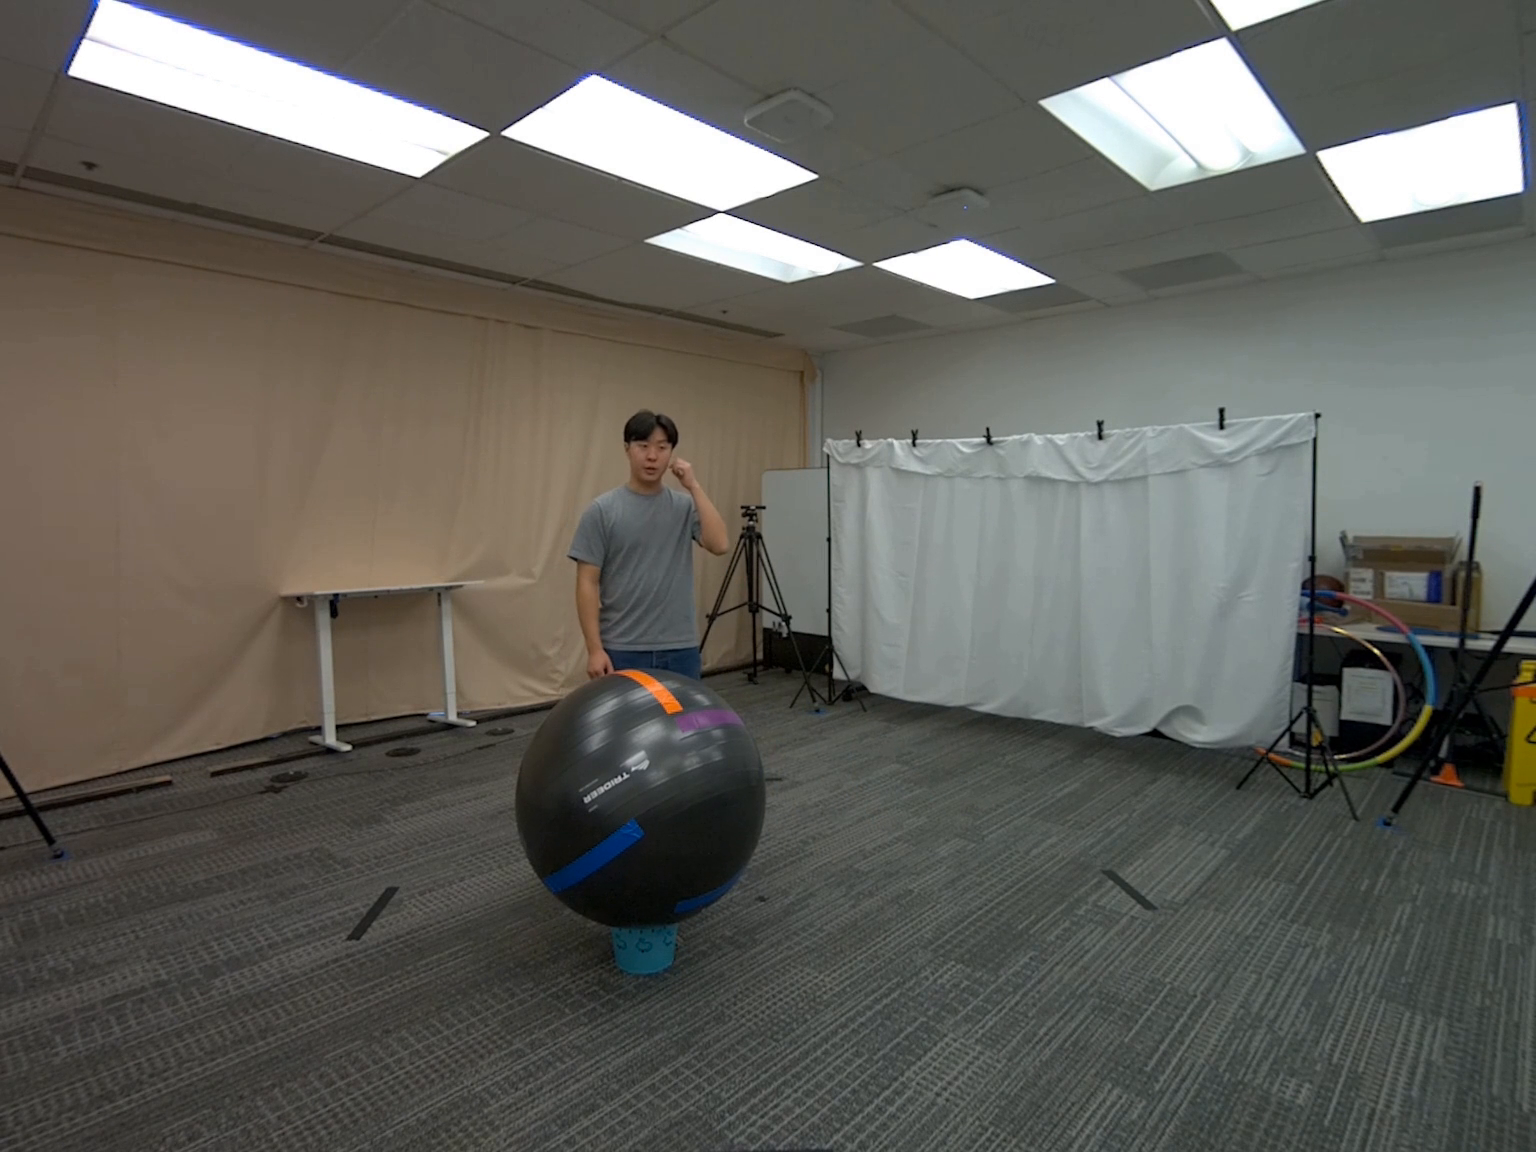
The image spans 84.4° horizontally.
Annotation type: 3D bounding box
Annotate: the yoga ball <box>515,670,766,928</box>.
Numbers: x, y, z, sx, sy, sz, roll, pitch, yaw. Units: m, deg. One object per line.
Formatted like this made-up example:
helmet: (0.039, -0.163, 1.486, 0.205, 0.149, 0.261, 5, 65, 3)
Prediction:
yoga ball: (-0.396, 0.674, 2.566, 0.757, 0.756, 0.761, 0, 4, -2)
